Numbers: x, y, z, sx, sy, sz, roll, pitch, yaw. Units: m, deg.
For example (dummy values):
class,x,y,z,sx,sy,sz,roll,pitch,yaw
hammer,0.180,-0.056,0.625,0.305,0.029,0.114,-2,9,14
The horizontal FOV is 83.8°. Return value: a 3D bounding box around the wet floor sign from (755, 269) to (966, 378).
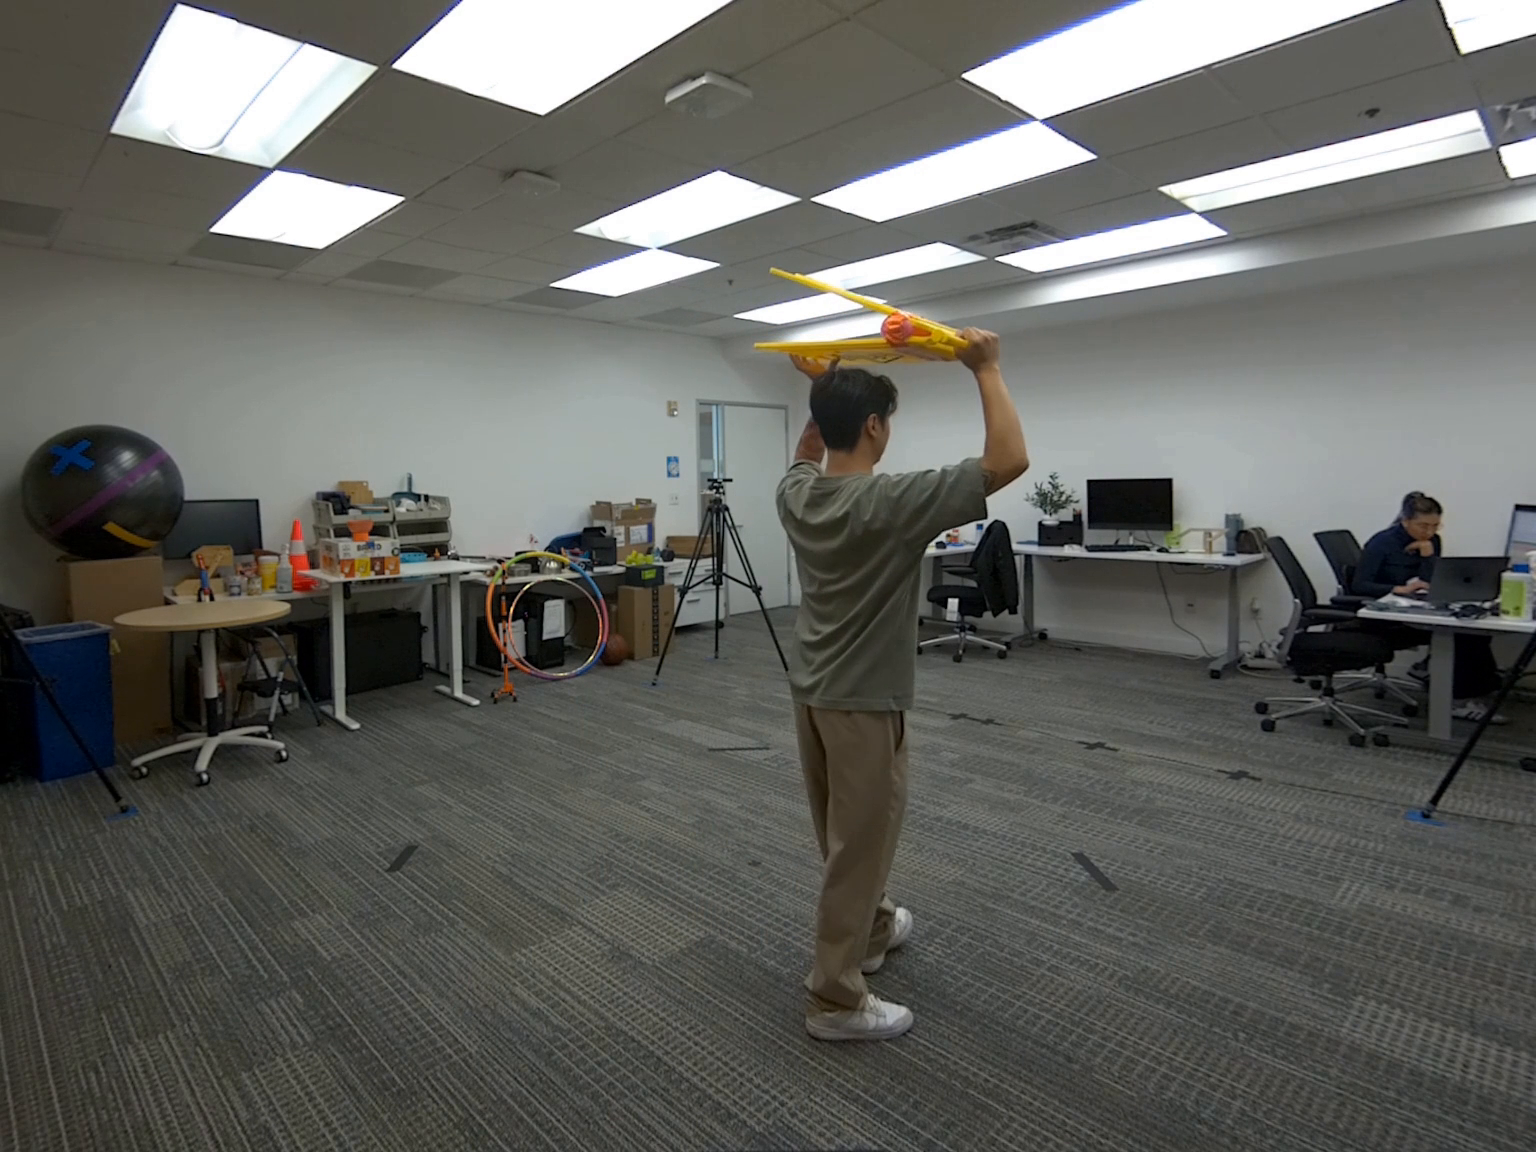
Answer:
class,x,y,z,sx,sy,sz,roll,pitch,yaw
wet floor sign,0.285,-0.635,2.220,0.274,0.288,0.670,4,14,-40
